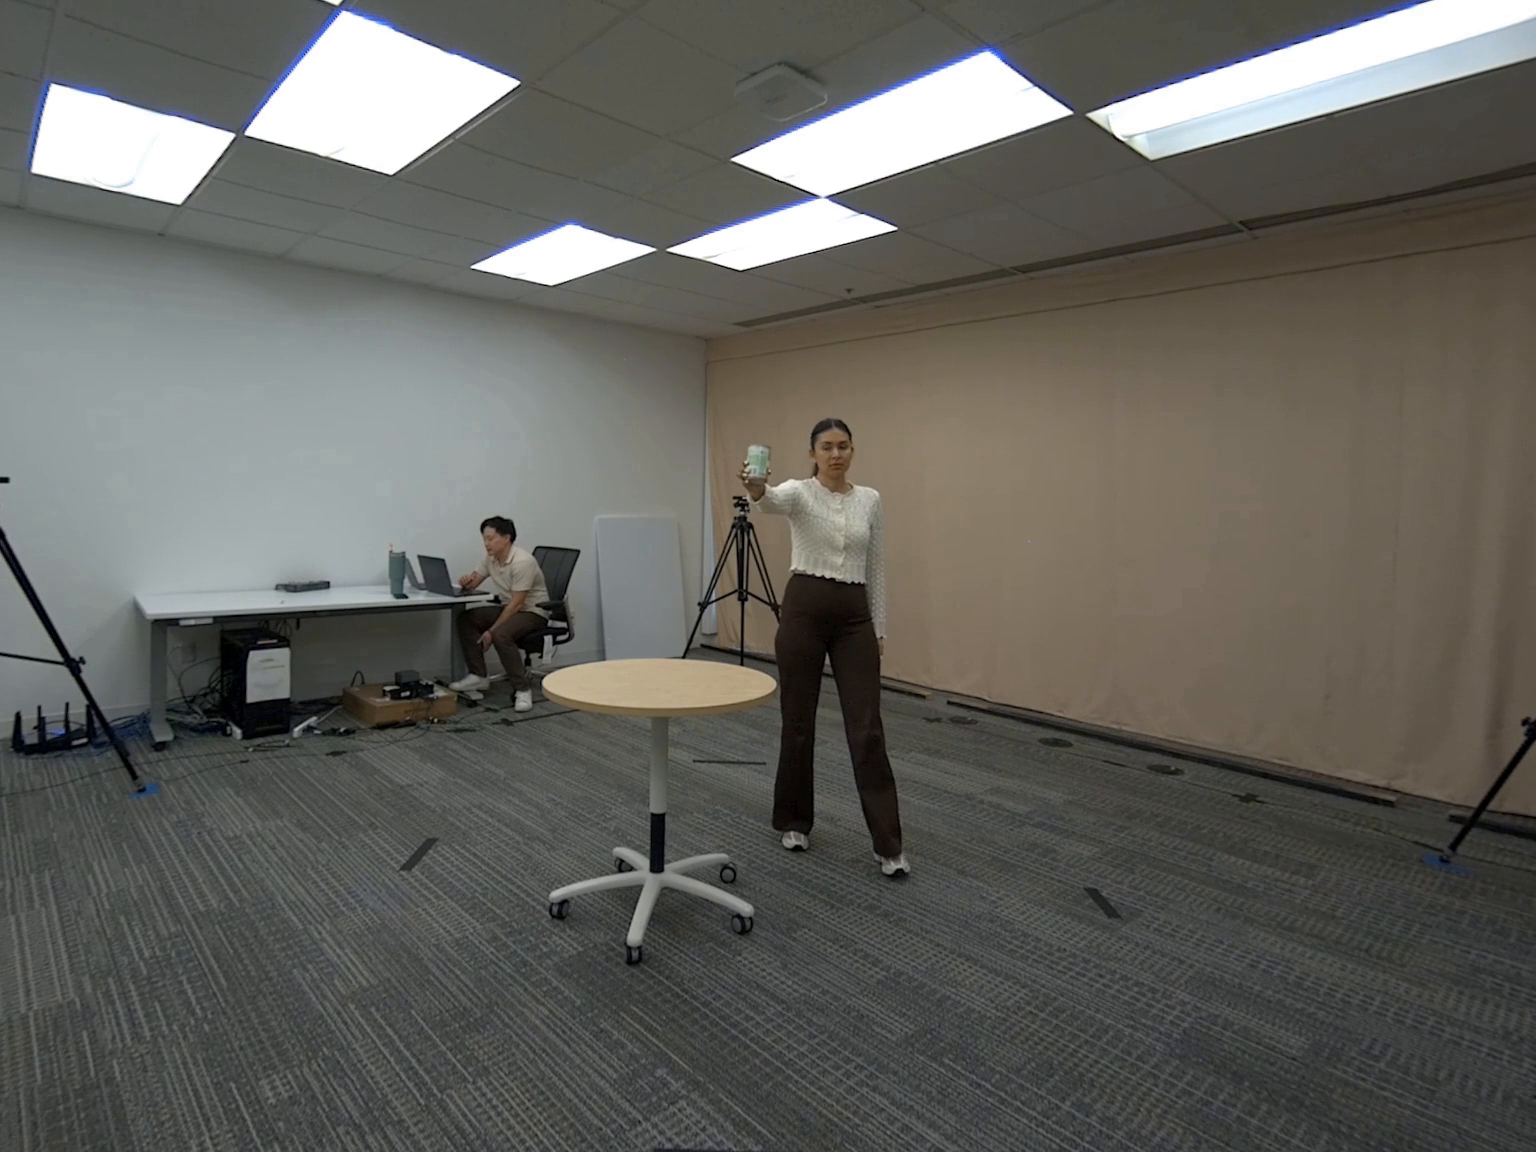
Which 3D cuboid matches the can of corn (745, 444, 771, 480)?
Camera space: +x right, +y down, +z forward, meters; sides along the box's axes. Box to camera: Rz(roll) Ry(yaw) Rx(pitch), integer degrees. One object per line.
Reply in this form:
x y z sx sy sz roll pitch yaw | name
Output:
-0.036 -0.358 2.700 0.074 0.112 0.074 5 -8 -1 | can of corn
